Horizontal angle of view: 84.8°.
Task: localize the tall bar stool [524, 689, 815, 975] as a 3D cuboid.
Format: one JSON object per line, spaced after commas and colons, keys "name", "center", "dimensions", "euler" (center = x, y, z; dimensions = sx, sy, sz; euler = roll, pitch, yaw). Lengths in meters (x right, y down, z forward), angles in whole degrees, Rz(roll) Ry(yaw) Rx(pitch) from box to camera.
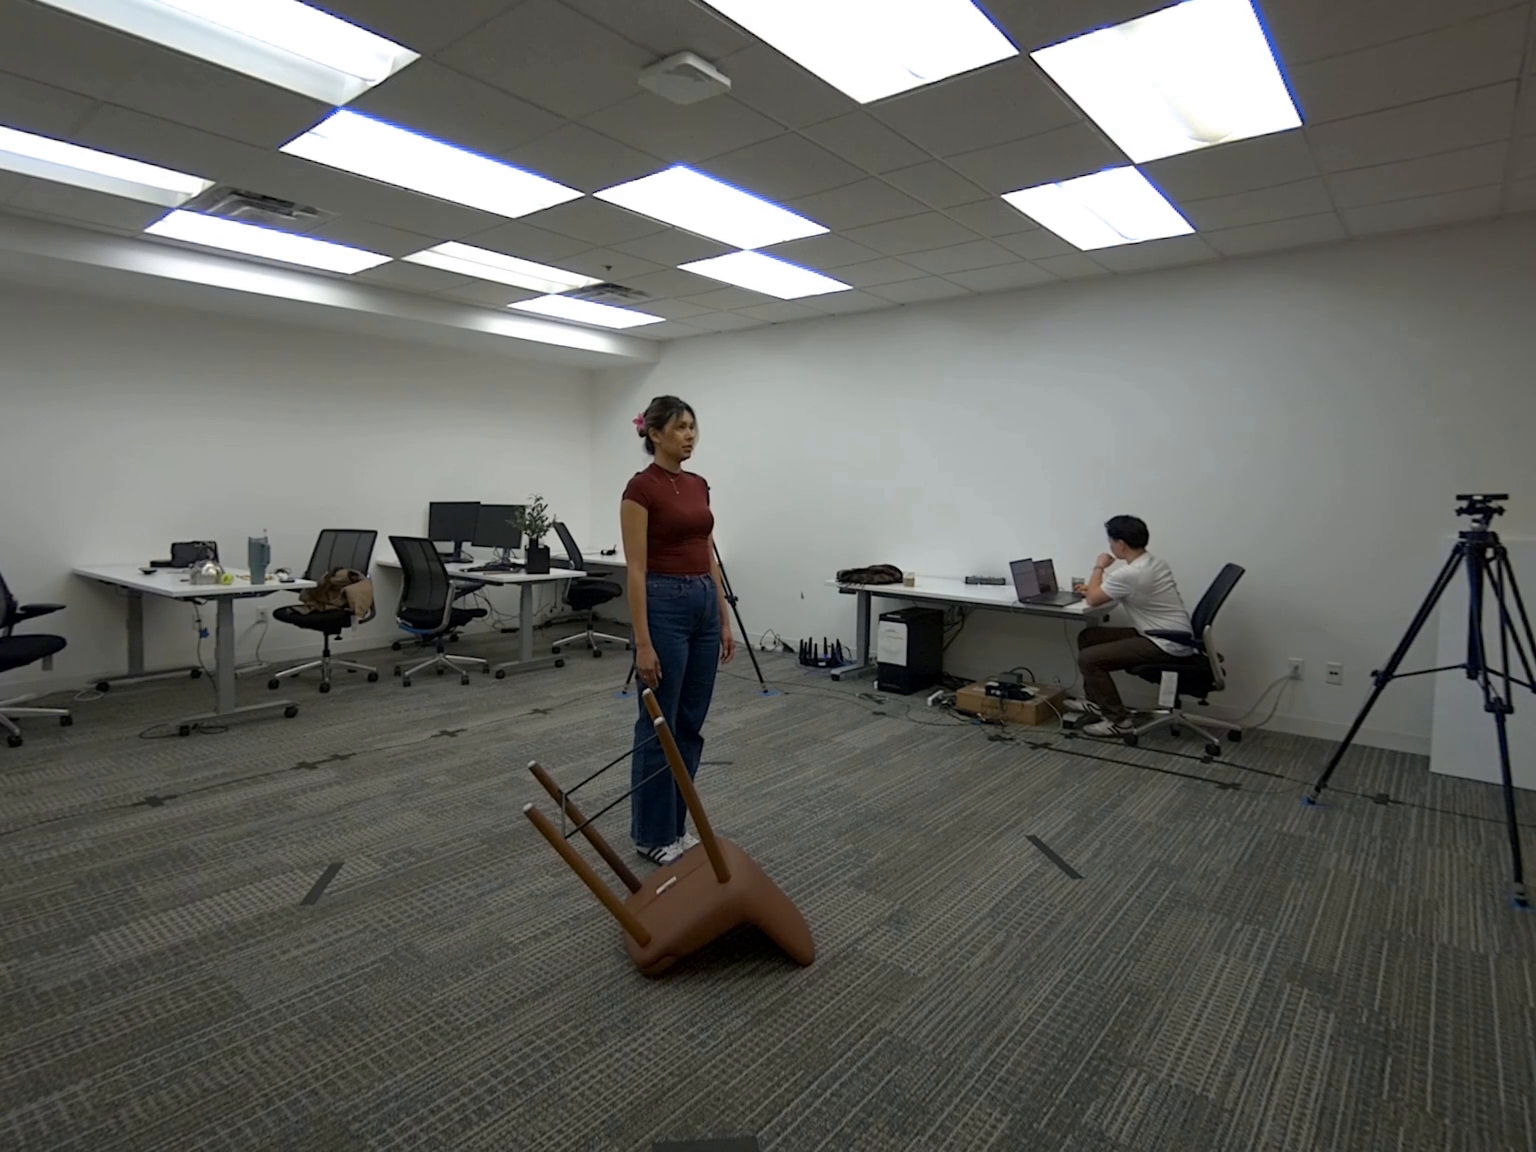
{"name": "tall bar stool", "center": [-0.308, 0.862, 2.587], "dimensions": [0.466, 0.878, 0.464], "euler": [-34, 10, -8]}
